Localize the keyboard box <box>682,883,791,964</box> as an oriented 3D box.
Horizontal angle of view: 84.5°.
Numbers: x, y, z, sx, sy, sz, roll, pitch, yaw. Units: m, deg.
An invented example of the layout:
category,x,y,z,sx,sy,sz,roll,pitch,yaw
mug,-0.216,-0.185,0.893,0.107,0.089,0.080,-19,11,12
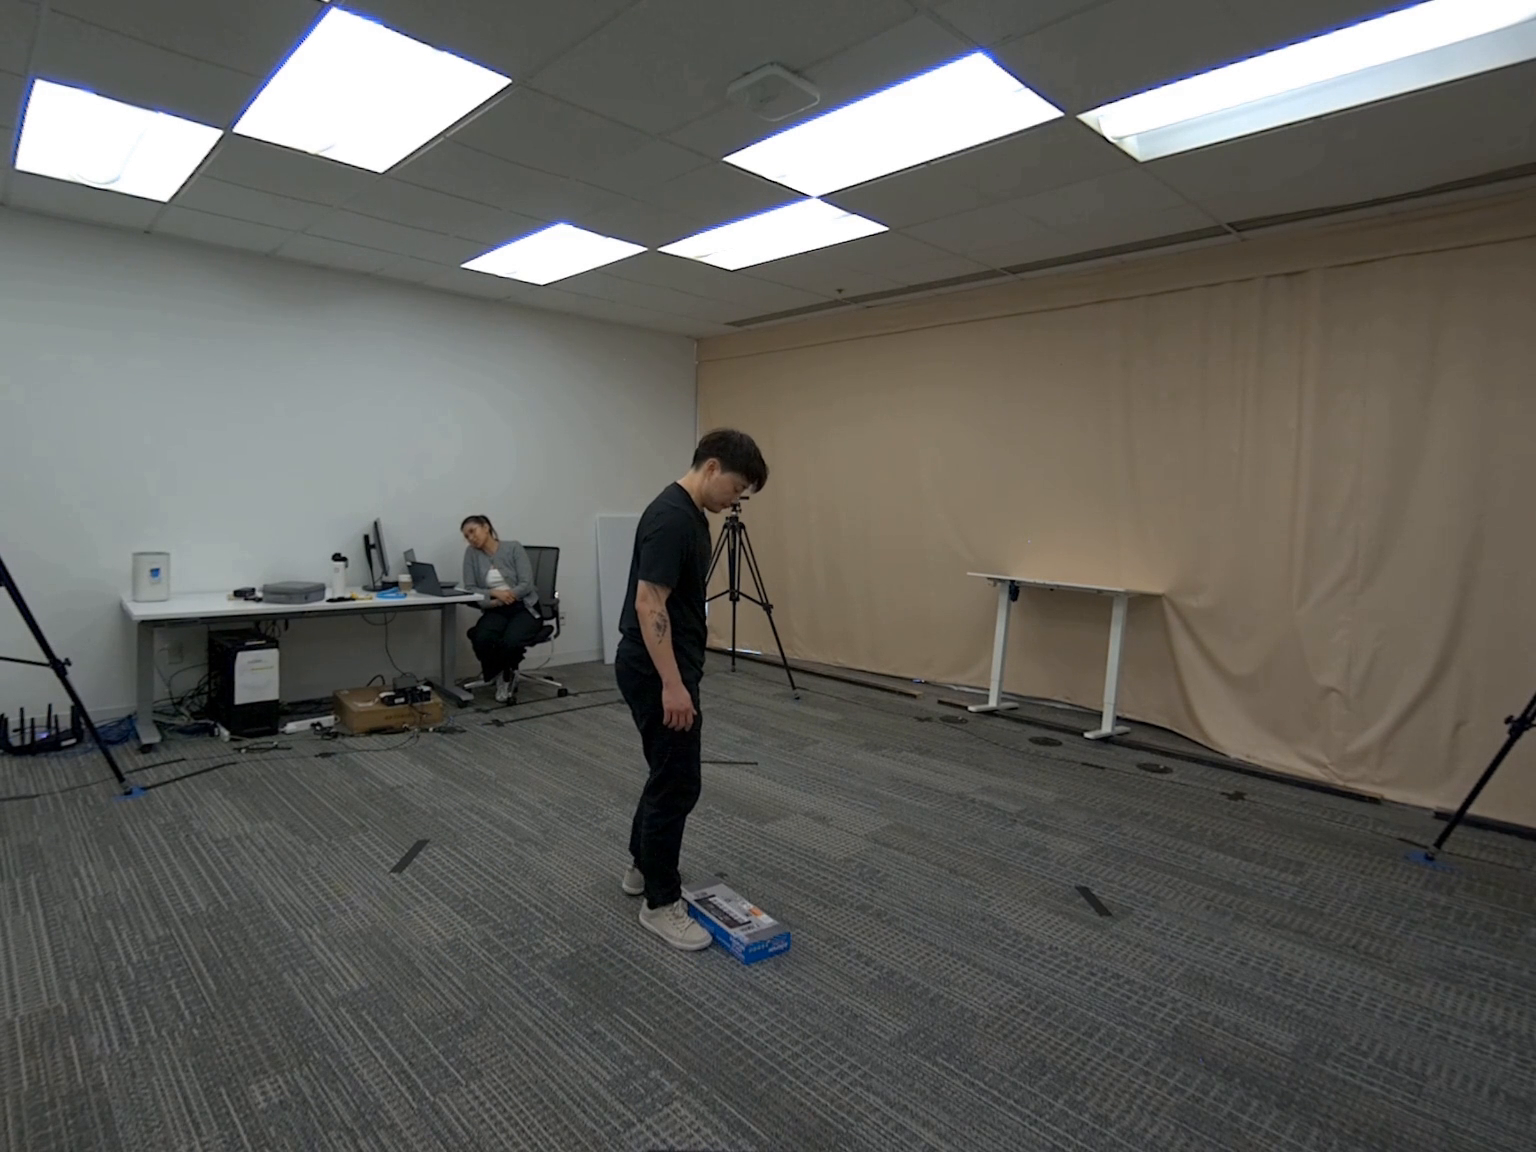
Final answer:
category,x,y,z,sx,sy,sz,roll,pitch,yaw
keyboard box,-0.132,1.111,2.729,0.172,0.059,0.447,-1,5,-35
